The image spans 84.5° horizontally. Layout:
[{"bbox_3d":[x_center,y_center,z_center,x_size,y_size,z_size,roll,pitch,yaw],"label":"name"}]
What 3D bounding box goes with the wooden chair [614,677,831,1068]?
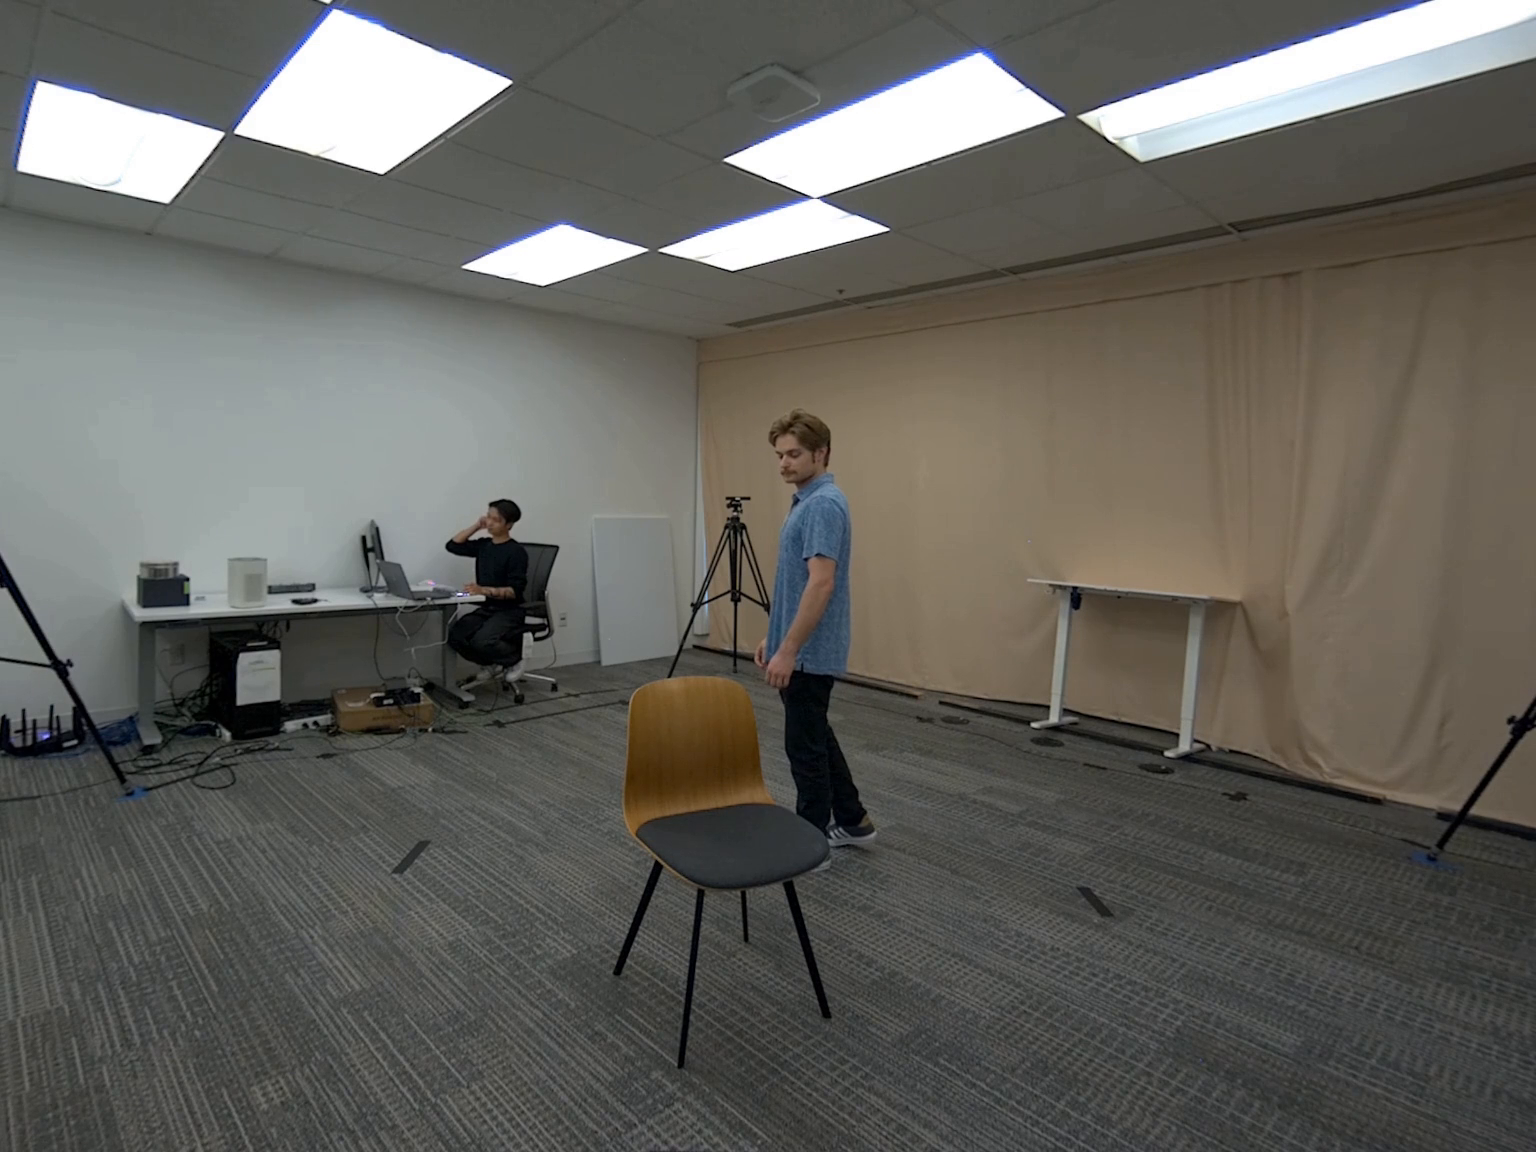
[{"bbox_3d":[-0.131,0.751,2.311,0.468,0.878,0.533,0,0,-30],"label":"wooden chair"}]
